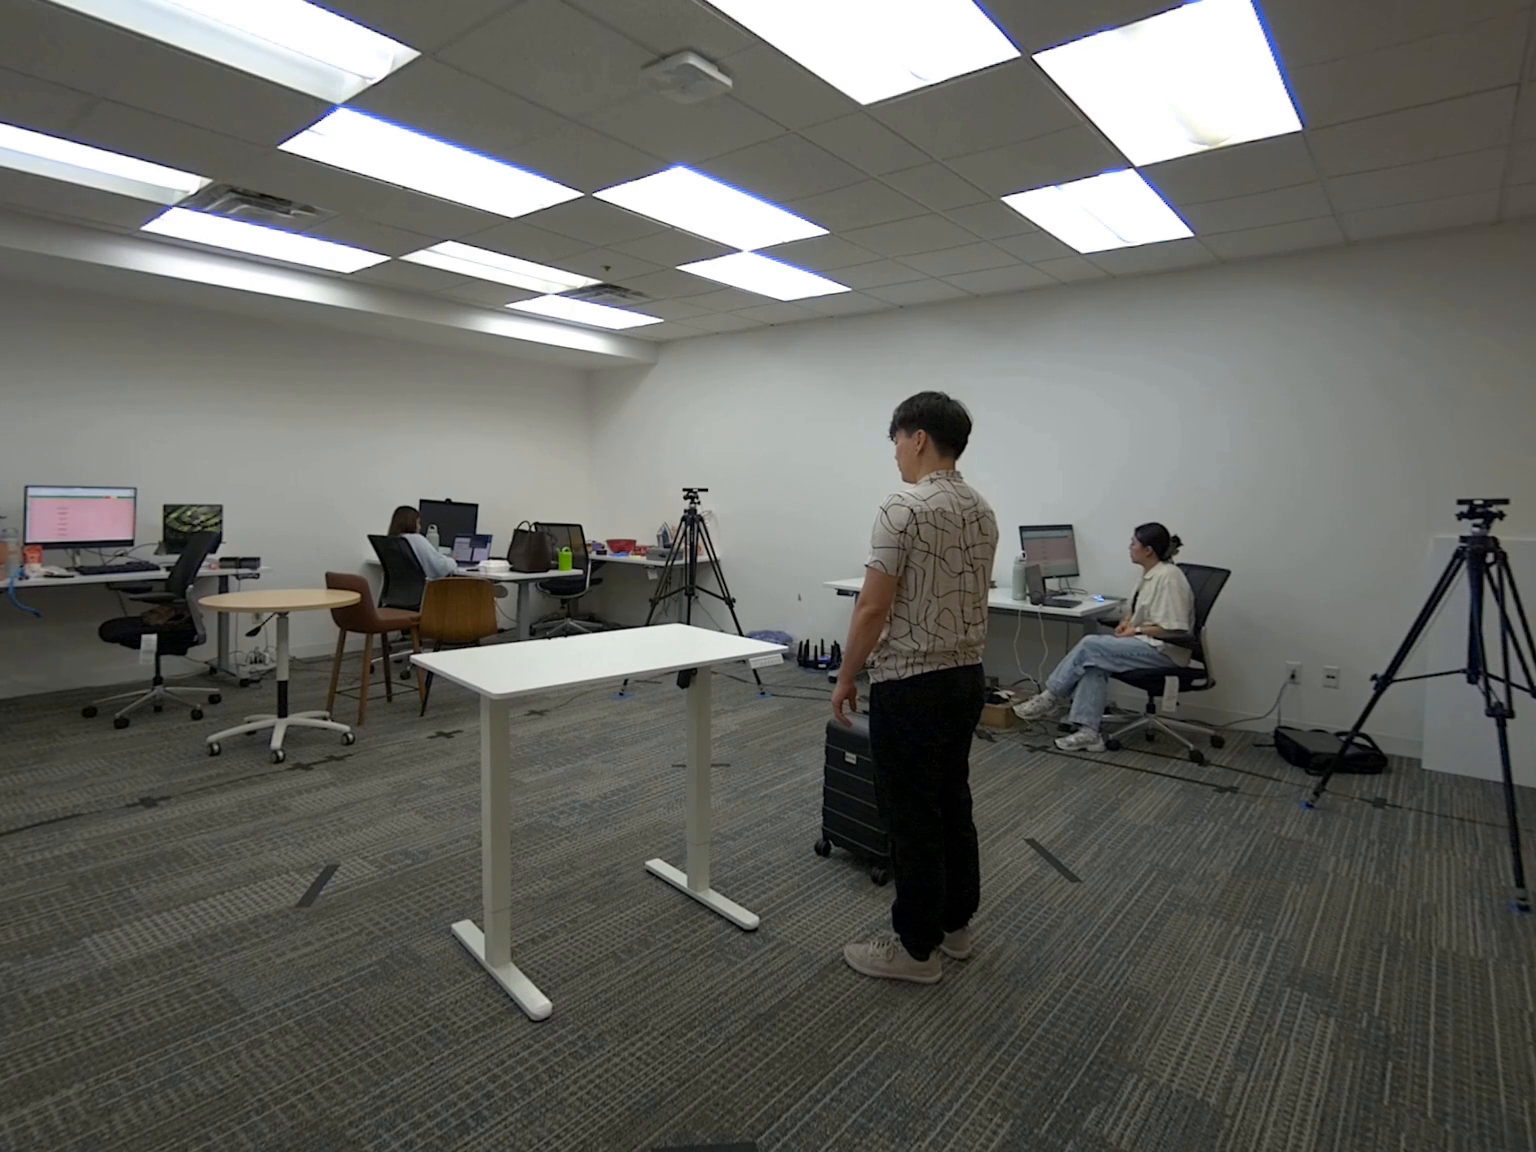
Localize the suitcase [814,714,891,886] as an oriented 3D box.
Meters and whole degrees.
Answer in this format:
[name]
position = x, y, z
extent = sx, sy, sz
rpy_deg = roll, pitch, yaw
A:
[suitcase]
position = 0.395, 0.793, 3.210
extent = 0.240, 0.548, 0.388
rpy_deg = 0, 3, -41
